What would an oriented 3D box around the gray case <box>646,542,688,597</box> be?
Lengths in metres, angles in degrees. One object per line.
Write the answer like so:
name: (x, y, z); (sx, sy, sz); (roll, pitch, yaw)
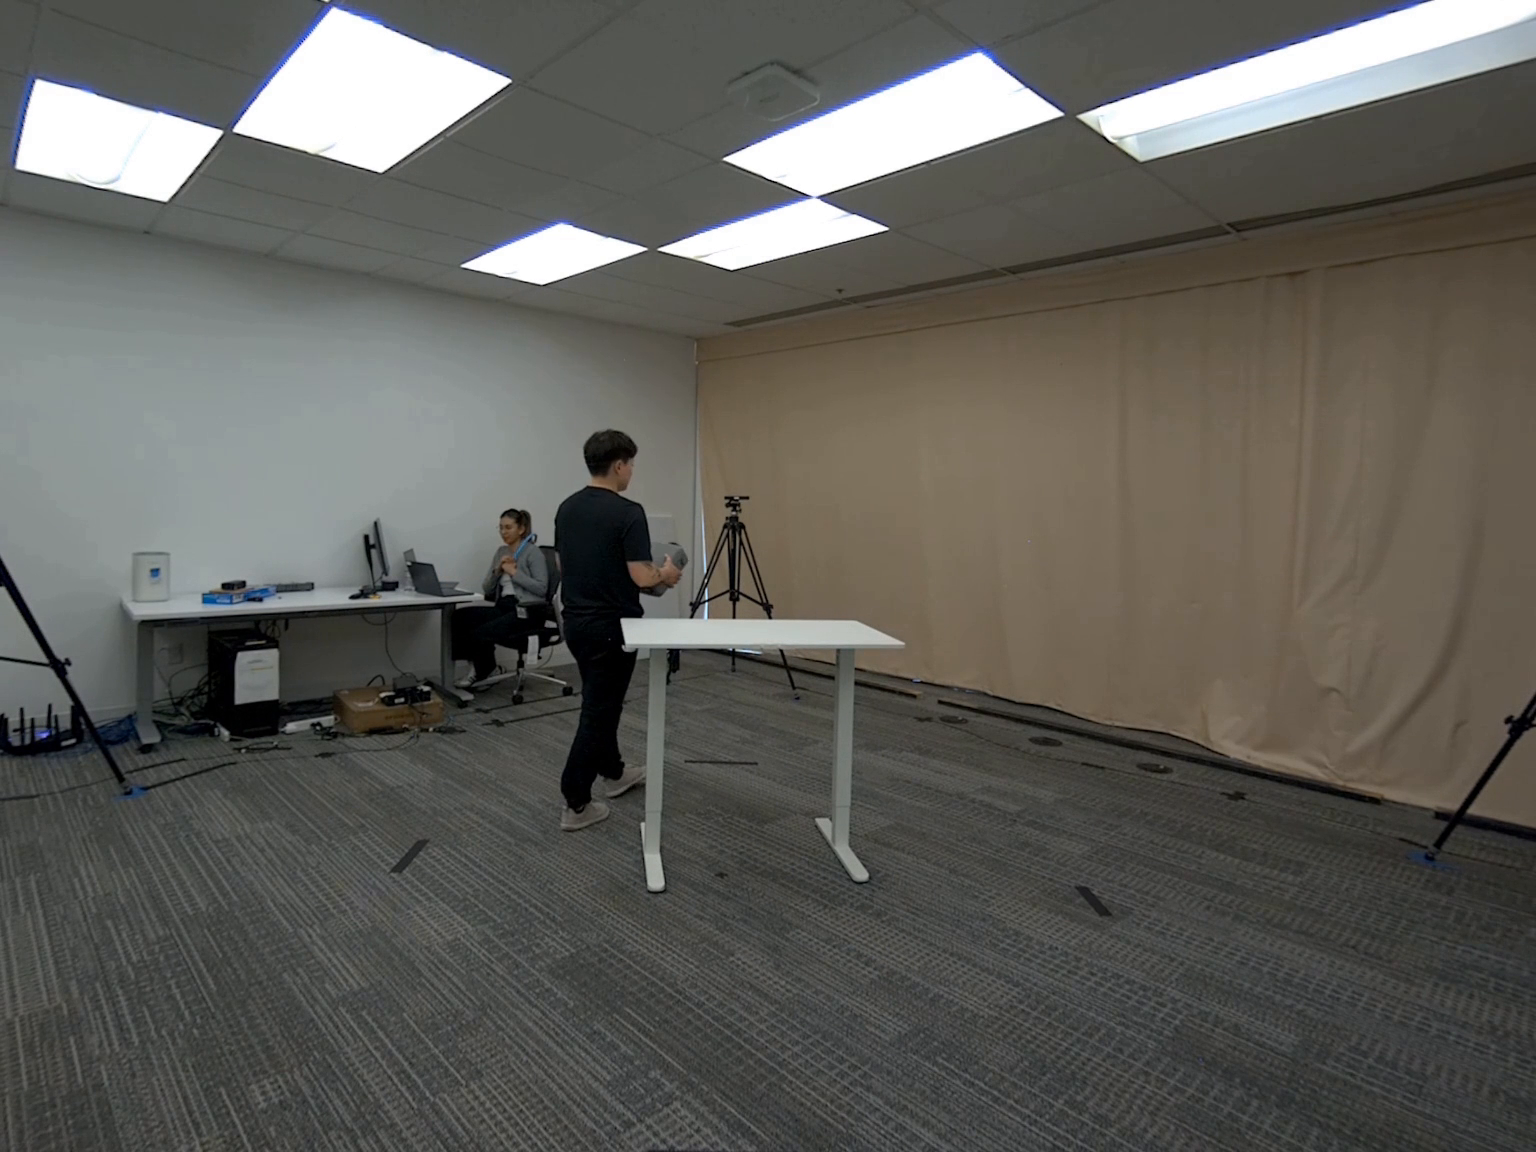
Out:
gray case: (-0.531, -0.046, 3.847); (0.264, 0.101, 0.261); (10, 51, 40)
